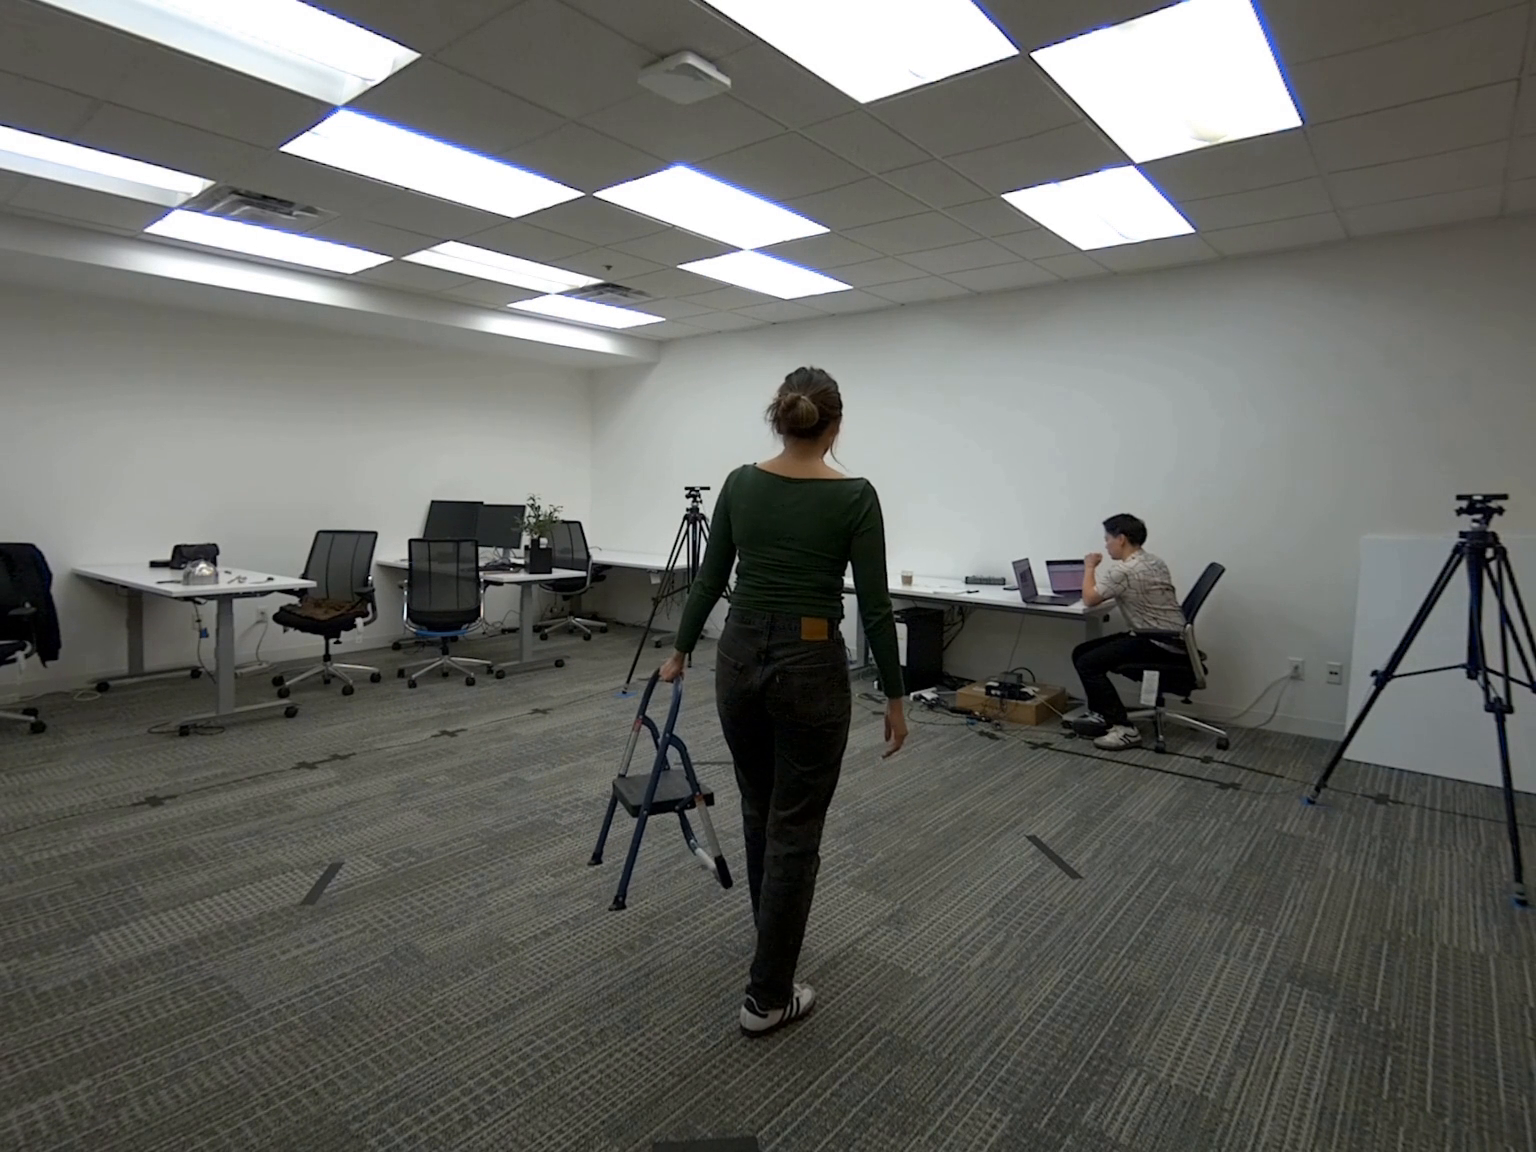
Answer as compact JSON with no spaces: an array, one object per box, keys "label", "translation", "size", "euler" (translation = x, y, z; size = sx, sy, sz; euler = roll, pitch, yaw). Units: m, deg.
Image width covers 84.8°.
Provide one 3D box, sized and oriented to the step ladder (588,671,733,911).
[{"label":"step ladder","translation":[-0.364,0.591,2.532],"size":[0.343,0.607,0.438],"euler":[-4,-1,-20]}]
